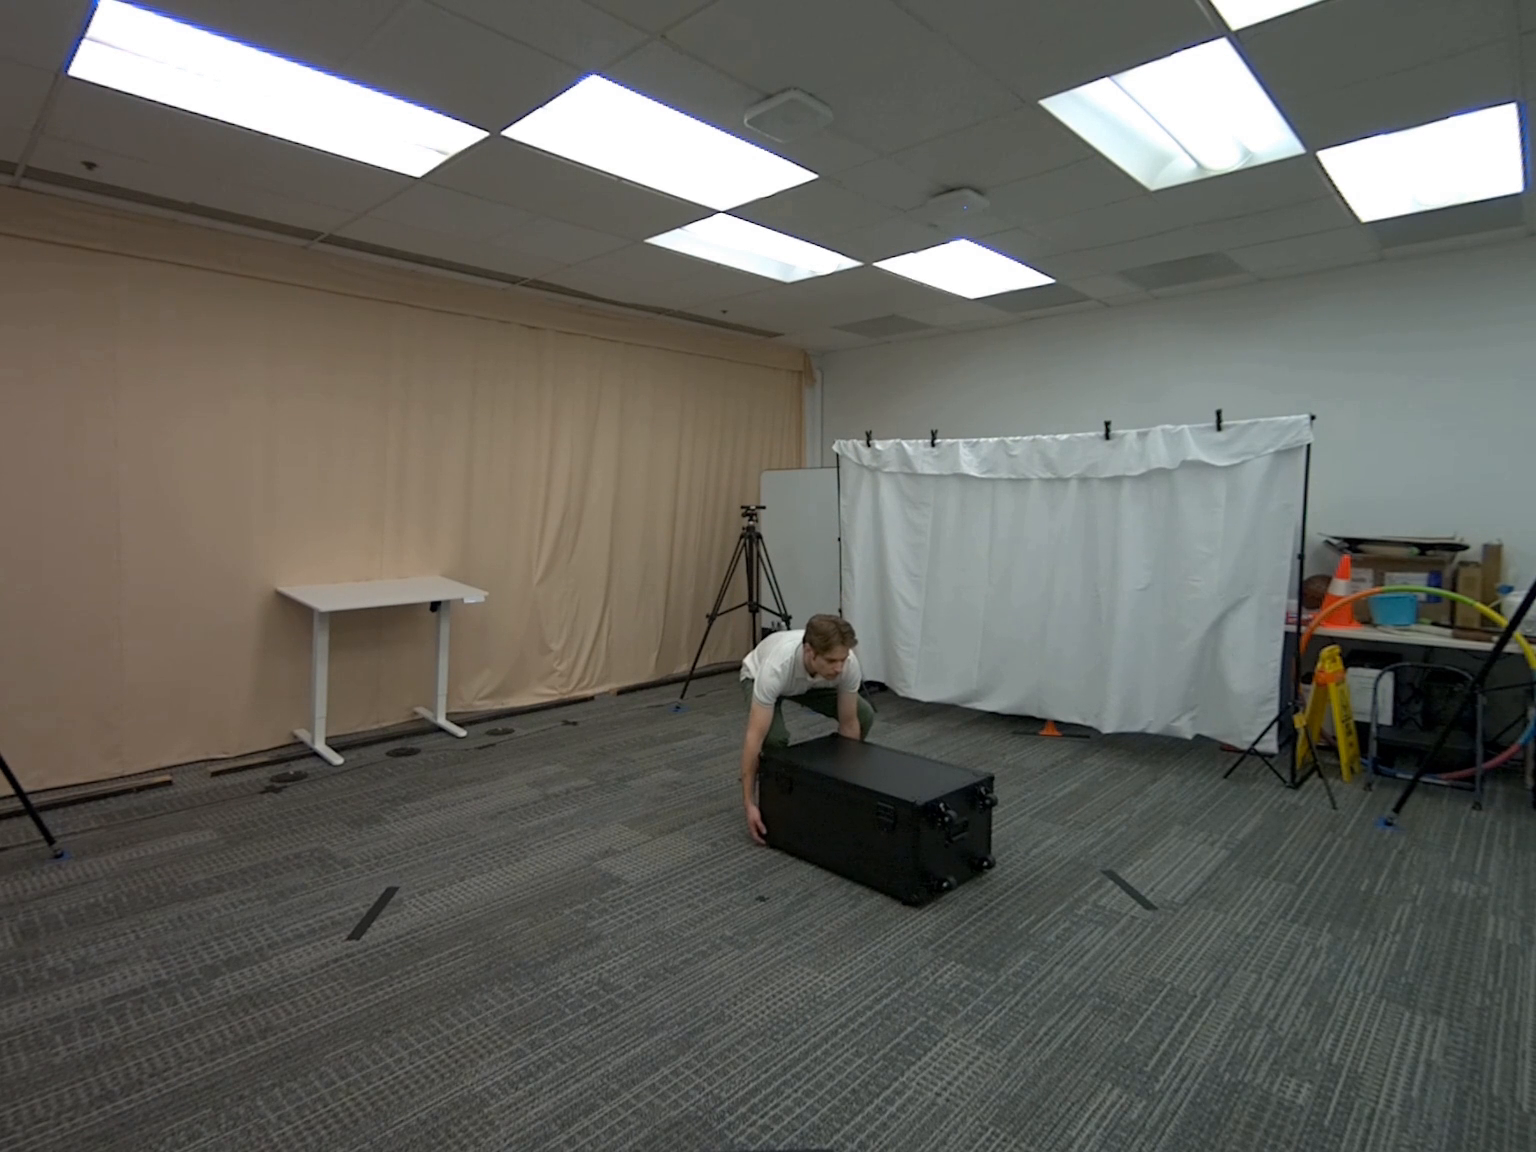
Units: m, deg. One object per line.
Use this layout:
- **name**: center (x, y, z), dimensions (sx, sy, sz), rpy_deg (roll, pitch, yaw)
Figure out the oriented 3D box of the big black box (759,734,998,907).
- **big black box**: center (0.436, 0.927, 3.285), dimensions (0.505, 0.395, 0.890), rpy_deg (-3, 5, -45)
